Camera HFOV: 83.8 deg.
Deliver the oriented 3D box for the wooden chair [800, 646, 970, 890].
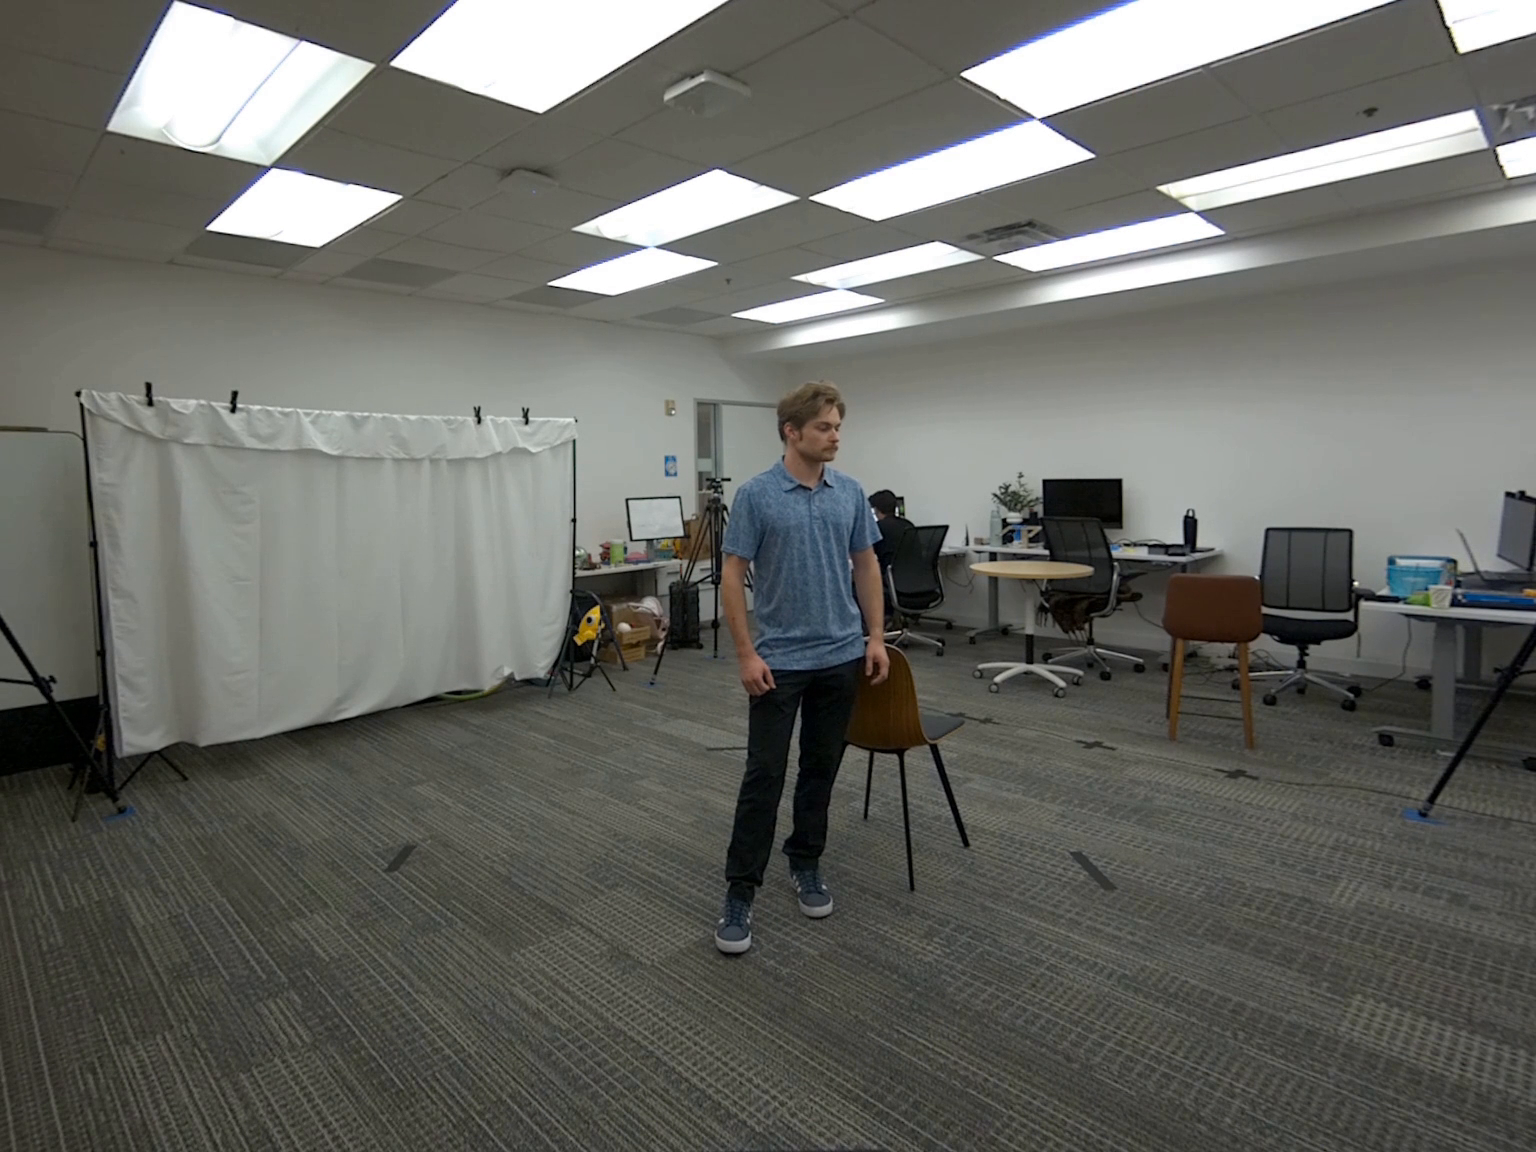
[{"bbox_3d":[0.442,0.600,3.162,0.492,0.871,0.512,2,9,38],"label":"wooden chair"}]
